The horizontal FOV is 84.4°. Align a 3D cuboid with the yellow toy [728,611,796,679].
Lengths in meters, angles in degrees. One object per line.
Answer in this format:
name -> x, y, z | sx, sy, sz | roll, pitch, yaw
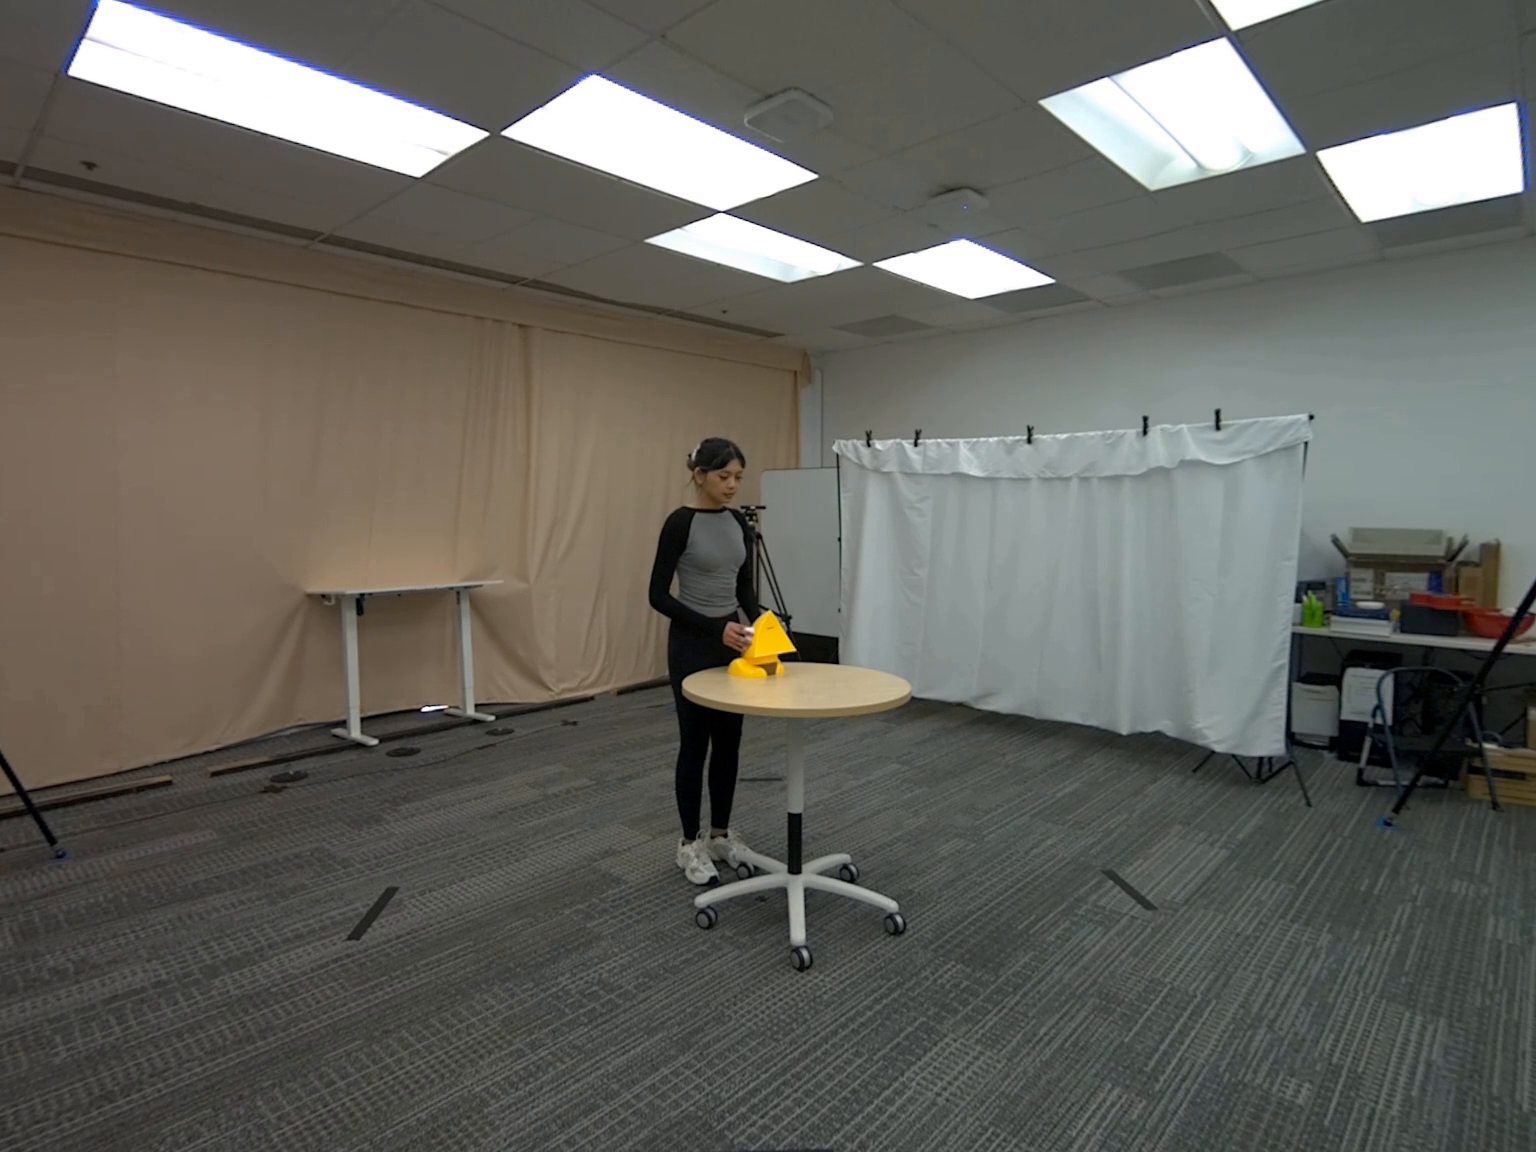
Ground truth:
yellow toy -> -0.027, 0.234, 3.023 | 0.198, 0.230, 0.199 | -2, 4, -42
